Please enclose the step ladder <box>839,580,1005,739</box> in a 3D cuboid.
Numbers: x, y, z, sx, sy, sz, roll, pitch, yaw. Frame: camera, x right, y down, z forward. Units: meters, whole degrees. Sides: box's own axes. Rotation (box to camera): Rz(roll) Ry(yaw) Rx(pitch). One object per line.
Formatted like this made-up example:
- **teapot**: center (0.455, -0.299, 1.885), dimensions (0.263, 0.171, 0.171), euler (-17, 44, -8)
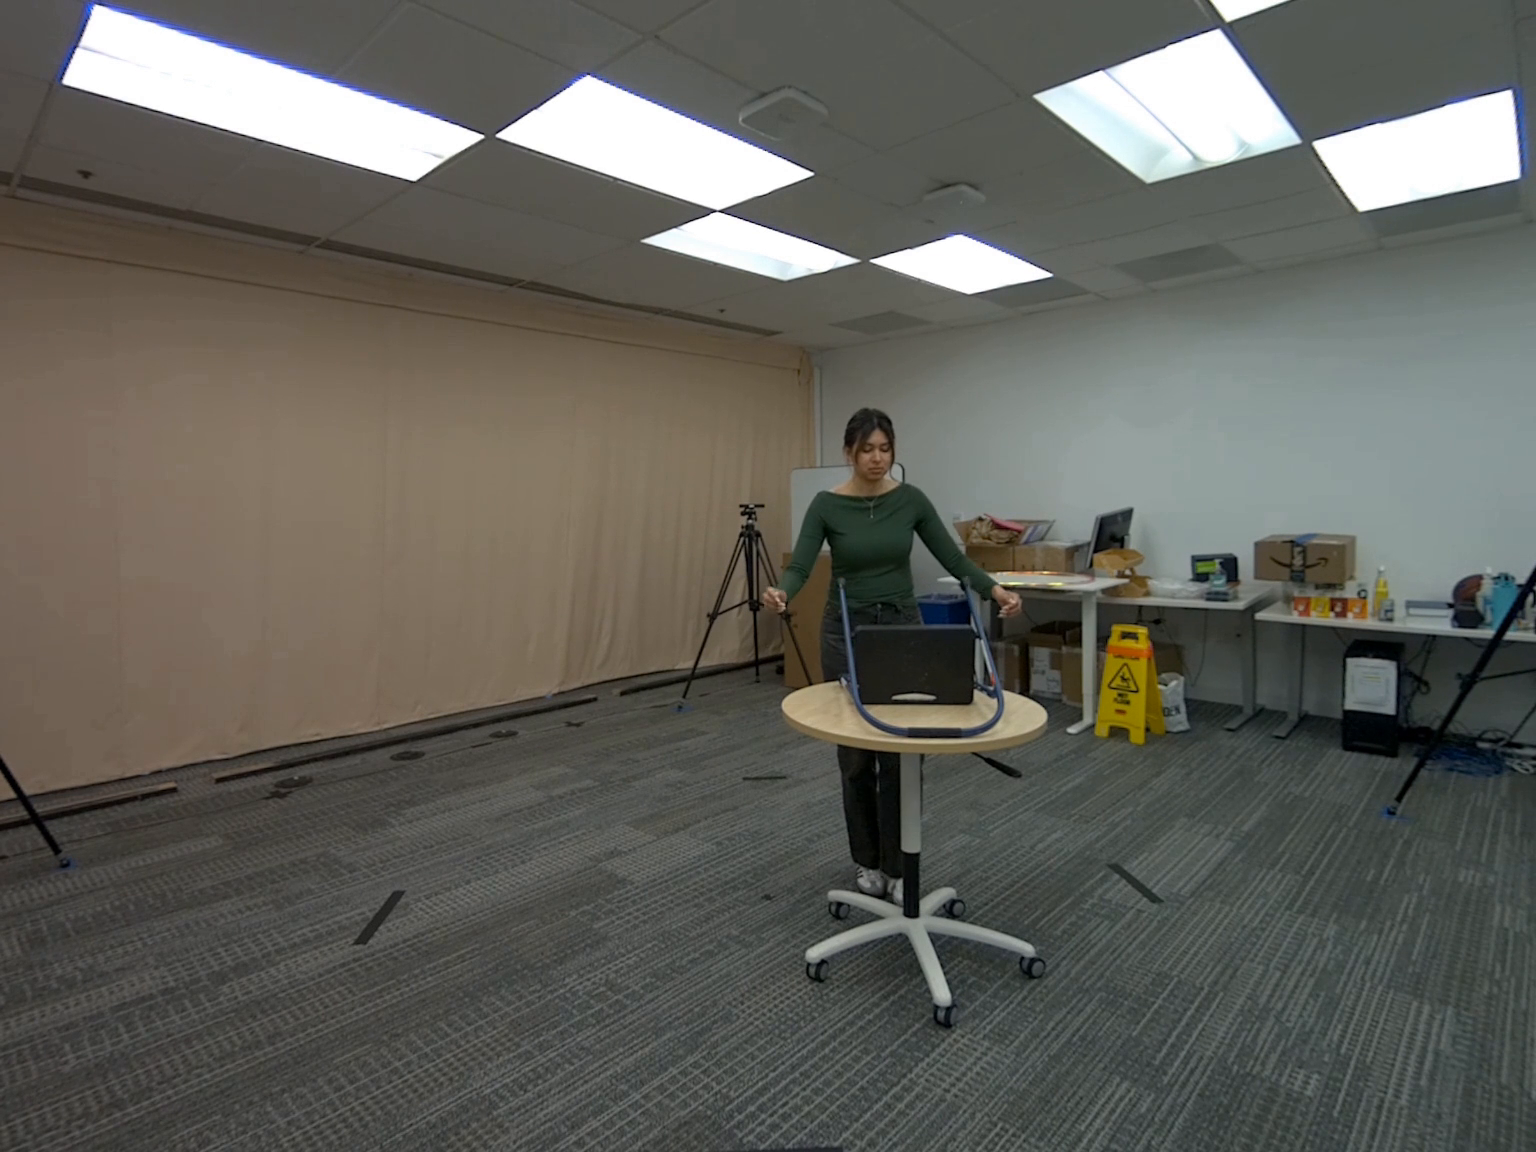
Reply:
- **step ladder**: center (0.444, 0.264, 2.451), dimensions (0.432, 0.346, 0.610), euler (-1, 15, 2)
